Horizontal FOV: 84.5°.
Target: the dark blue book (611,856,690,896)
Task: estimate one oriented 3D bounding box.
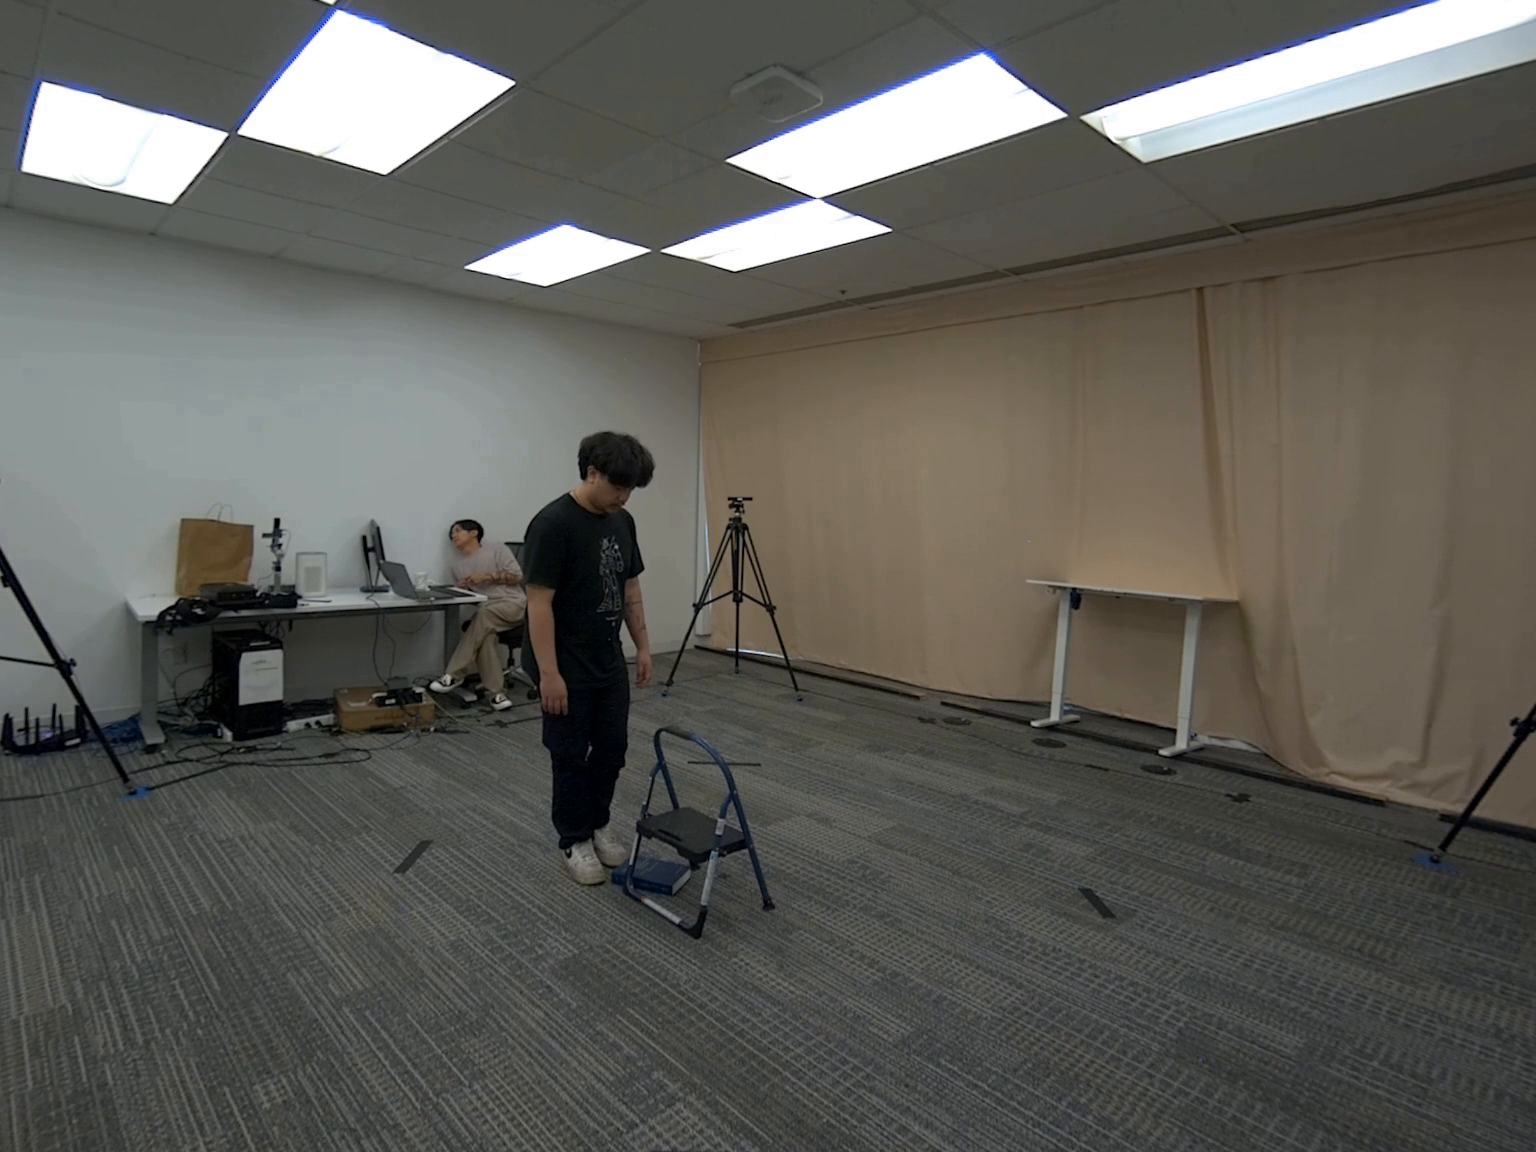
[{"bbox_3d":[-0.430,1.093,3.039,0.249,0.045,0.161,3,5,21],"label":"dark blue book"}]
